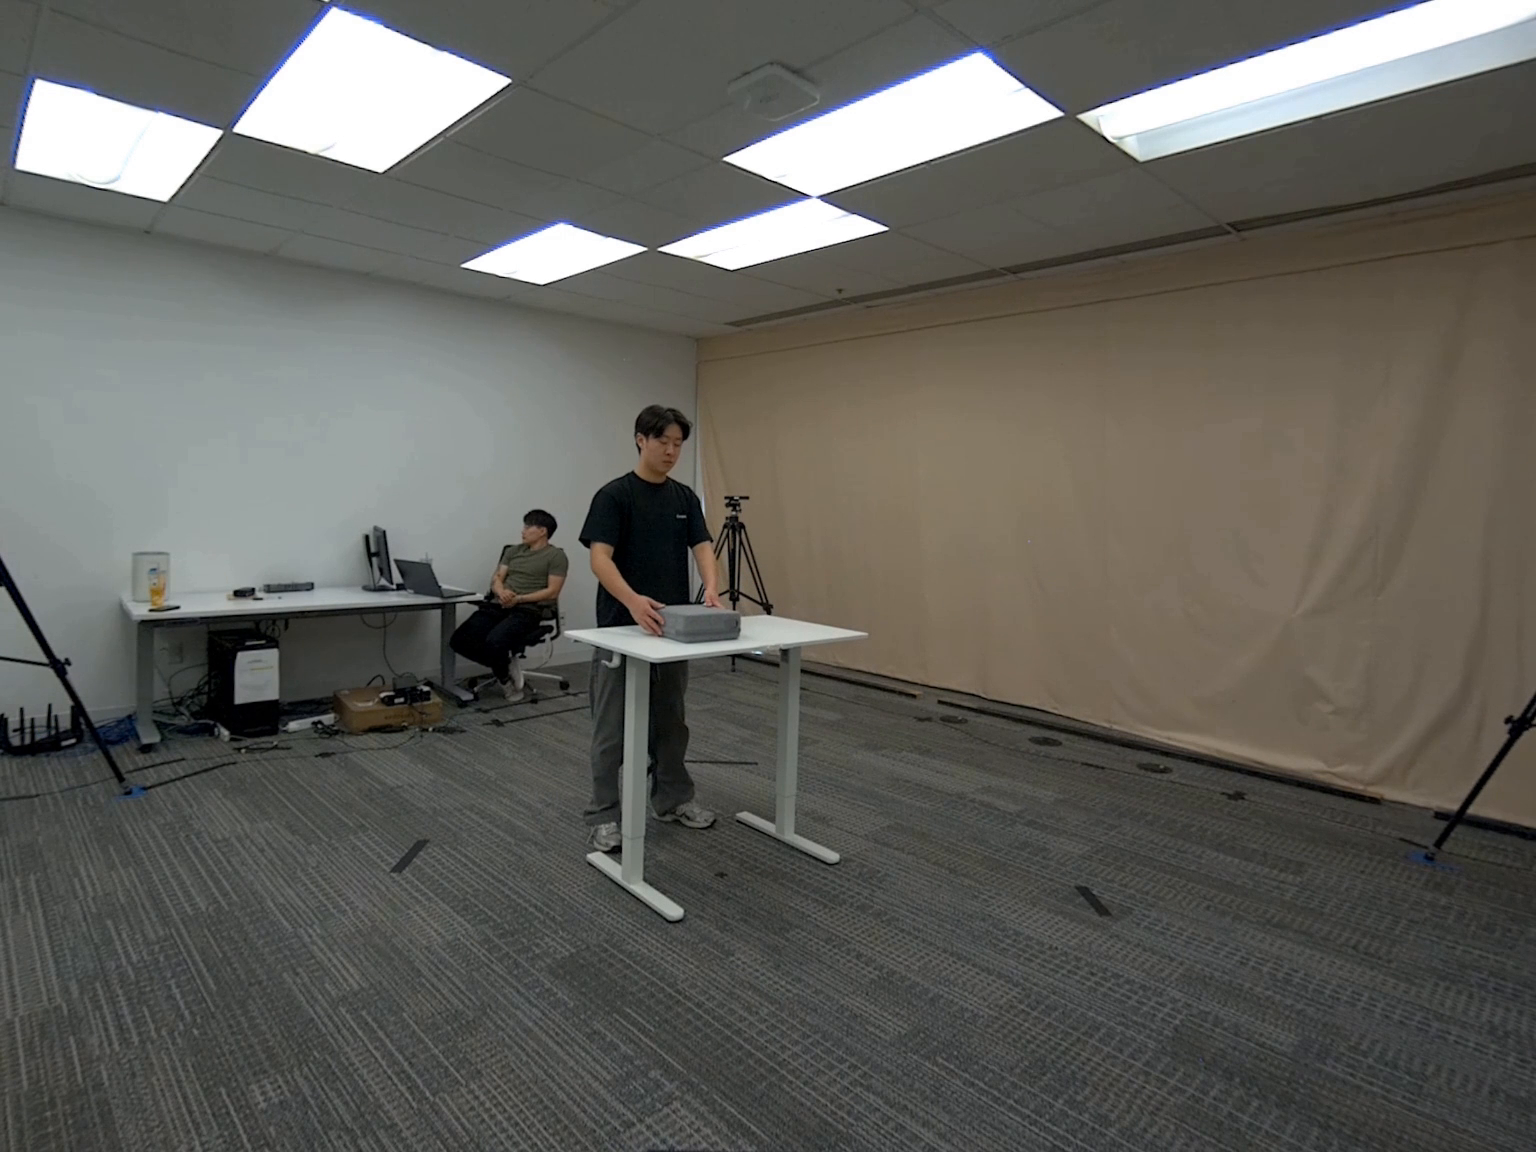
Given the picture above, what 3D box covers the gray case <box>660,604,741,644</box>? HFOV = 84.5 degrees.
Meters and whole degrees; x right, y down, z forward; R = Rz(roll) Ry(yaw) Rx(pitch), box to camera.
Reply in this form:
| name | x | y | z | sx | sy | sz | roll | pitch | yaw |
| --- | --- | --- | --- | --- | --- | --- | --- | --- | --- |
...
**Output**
| name | x | y | z | sx | sy | sz | roll | pitch | yaw |
| --- | --- | --- | --- | --- | --- | --- | --- | --- | --- |
| gray case | -0.256 | 0.173 | 3.060 | 0.281 | 0.103 | 0.270 | -1 | 6 | -35 |
